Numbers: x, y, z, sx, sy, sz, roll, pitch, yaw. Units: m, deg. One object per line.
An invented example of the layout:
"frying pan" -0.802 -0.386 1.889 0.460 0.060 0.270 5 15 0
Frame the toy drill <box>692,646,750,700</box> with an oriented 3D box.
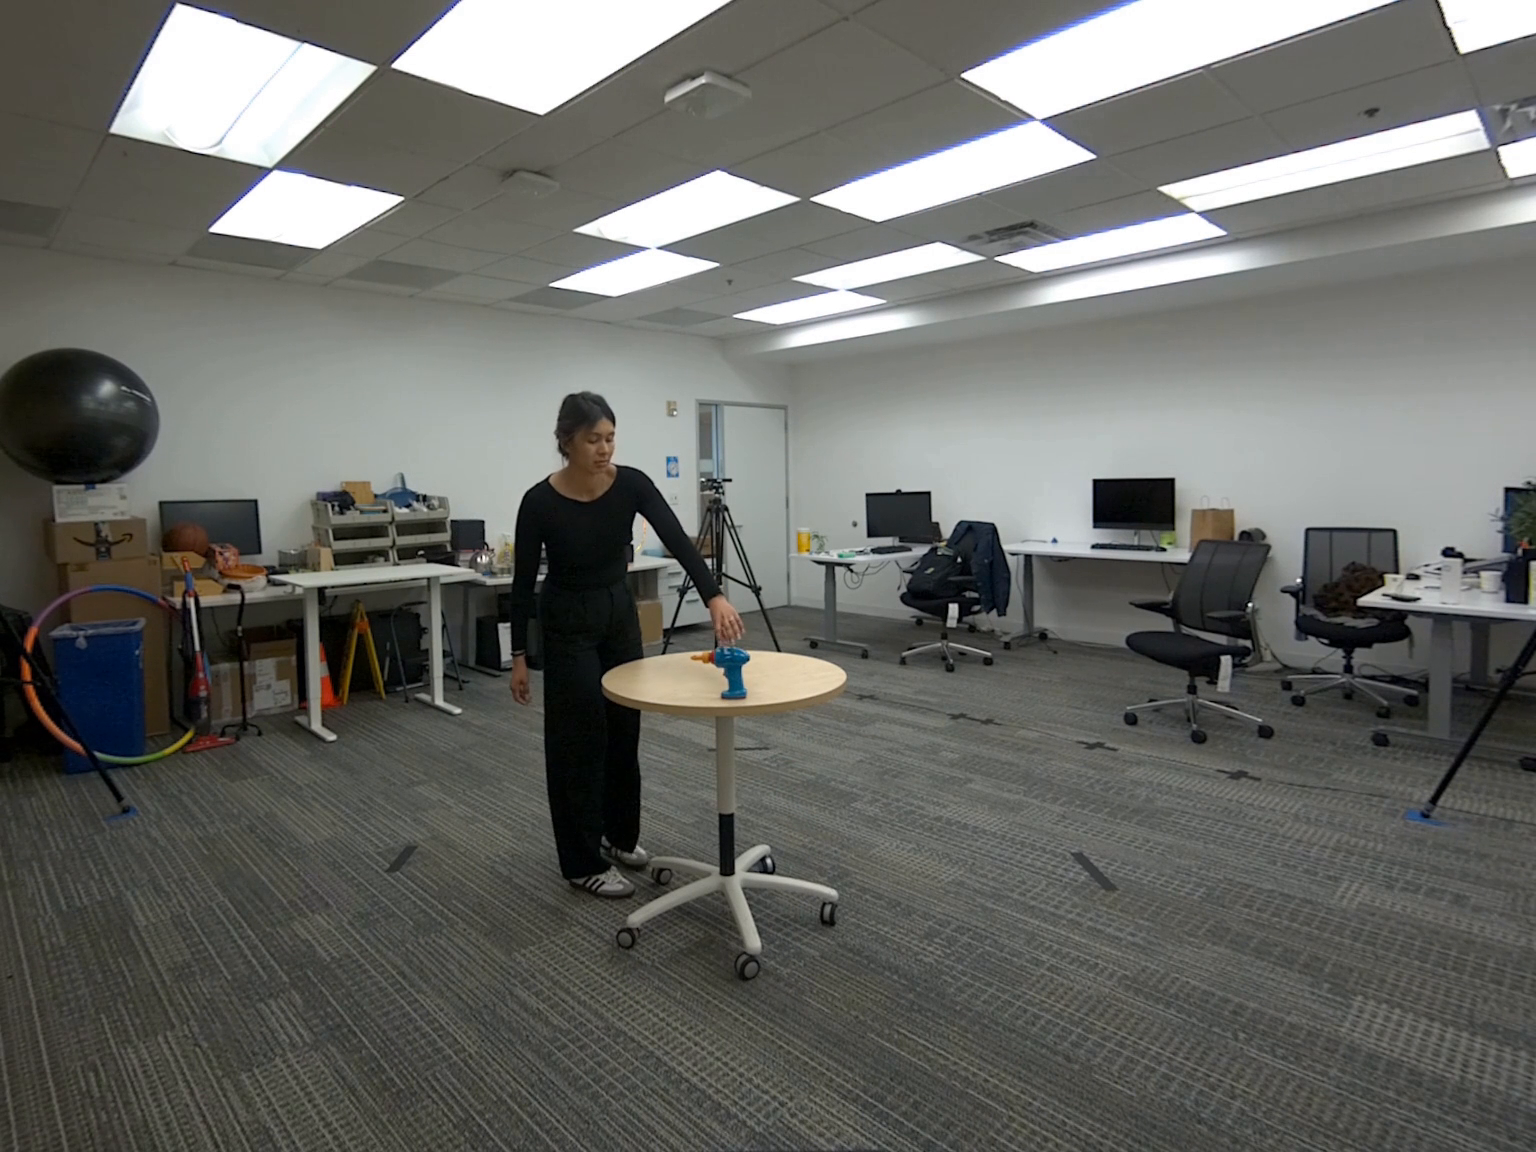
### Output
"toy drill" -0.139 0.270 2.400 0.171 0.146 0.061 -1 1 7
